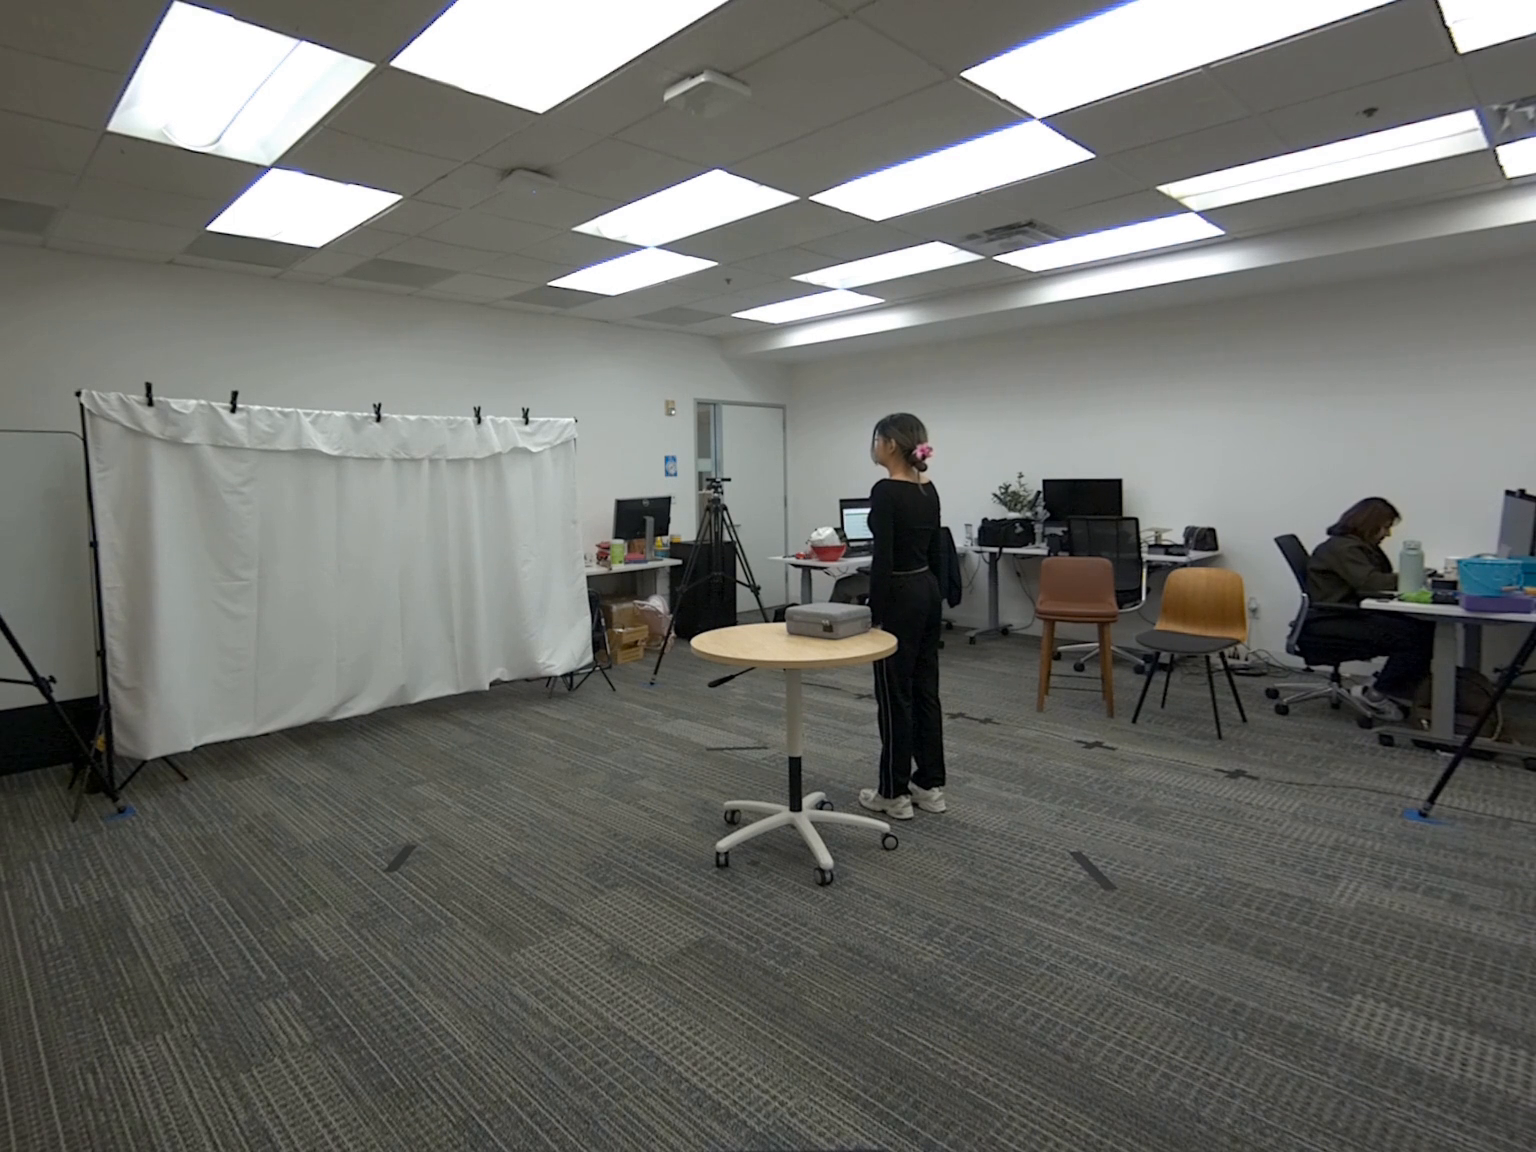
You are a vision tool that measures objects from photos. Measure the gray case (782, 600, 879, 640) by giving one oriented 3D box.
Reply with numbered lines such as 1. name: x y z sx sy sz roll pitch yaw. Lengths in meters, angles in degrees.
1. gray case: 0.239 0.163 3.302 0.264 0.104 0.253 2 5 43
